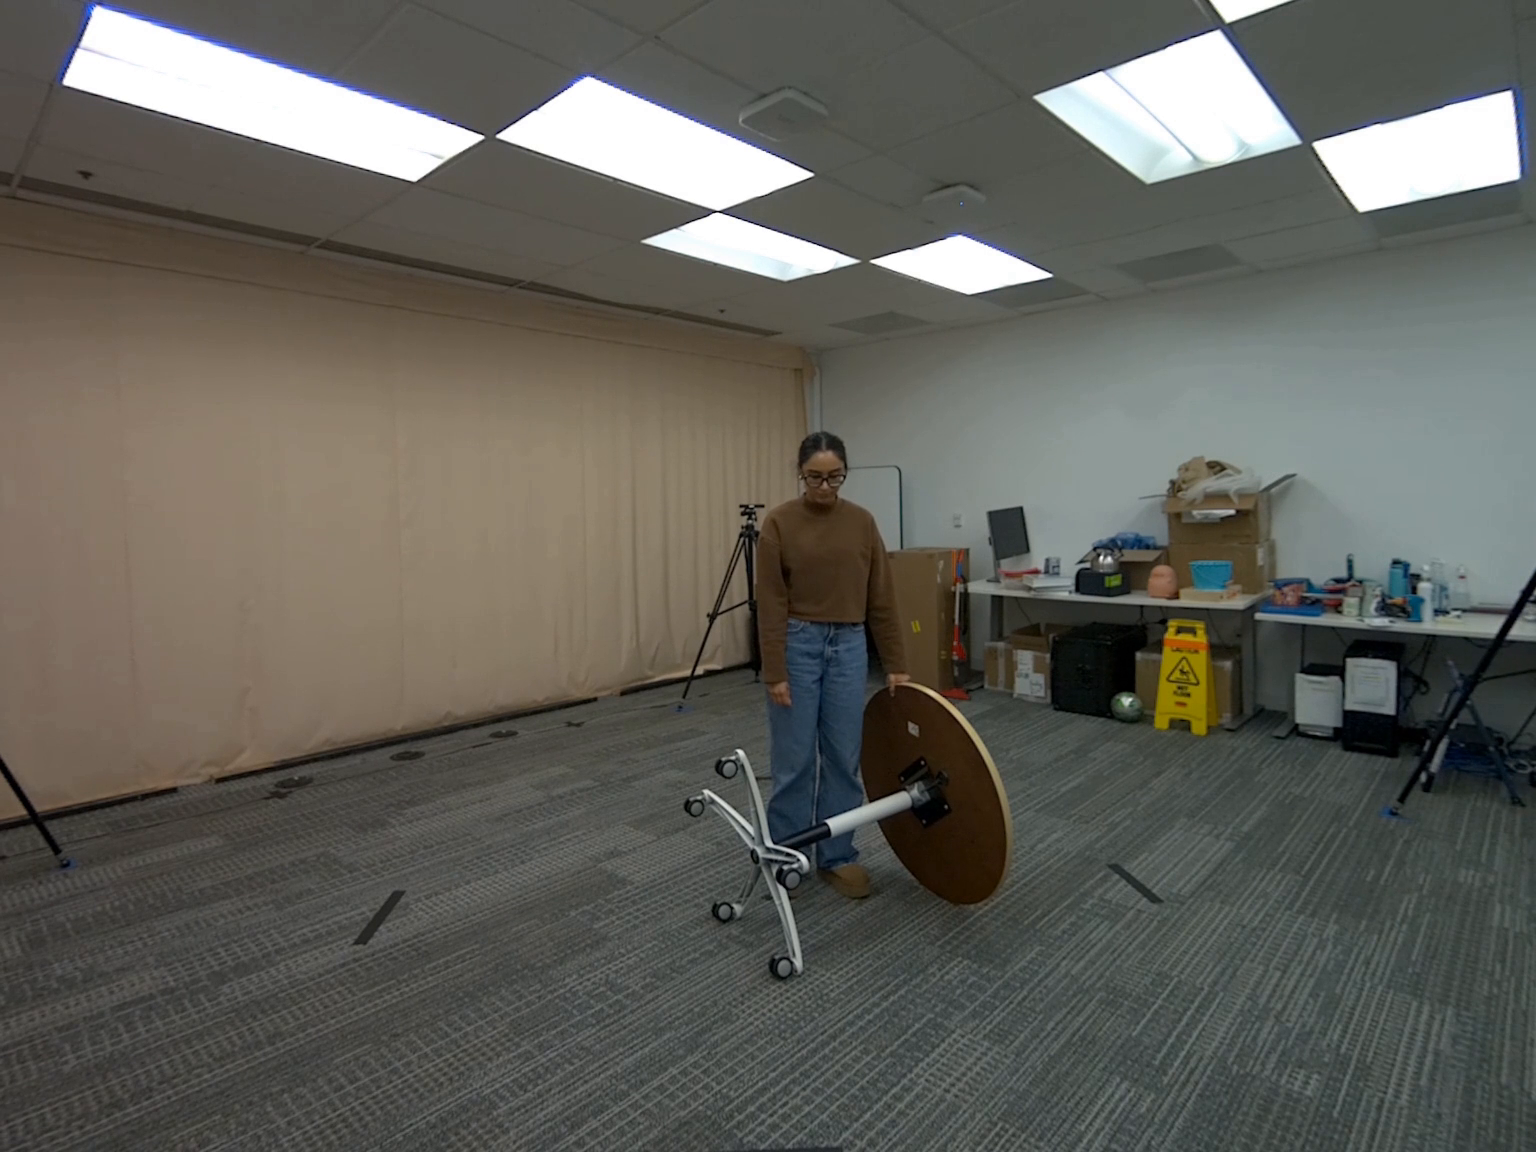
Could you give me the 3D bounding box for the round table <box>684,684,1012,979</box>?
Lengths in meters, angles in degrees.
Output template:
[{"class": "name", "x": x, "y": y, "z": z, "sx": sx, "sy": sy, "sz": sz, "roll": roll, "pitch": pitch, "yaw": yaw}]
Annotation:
[{"class": "round table", "x": 0.234, "y": 0.821, "z": 2.773, "sx": 0.776, "sy": 0.760, "sz": 0.785, "roll": -11, "pitch": 8, "yaw": -27}]
